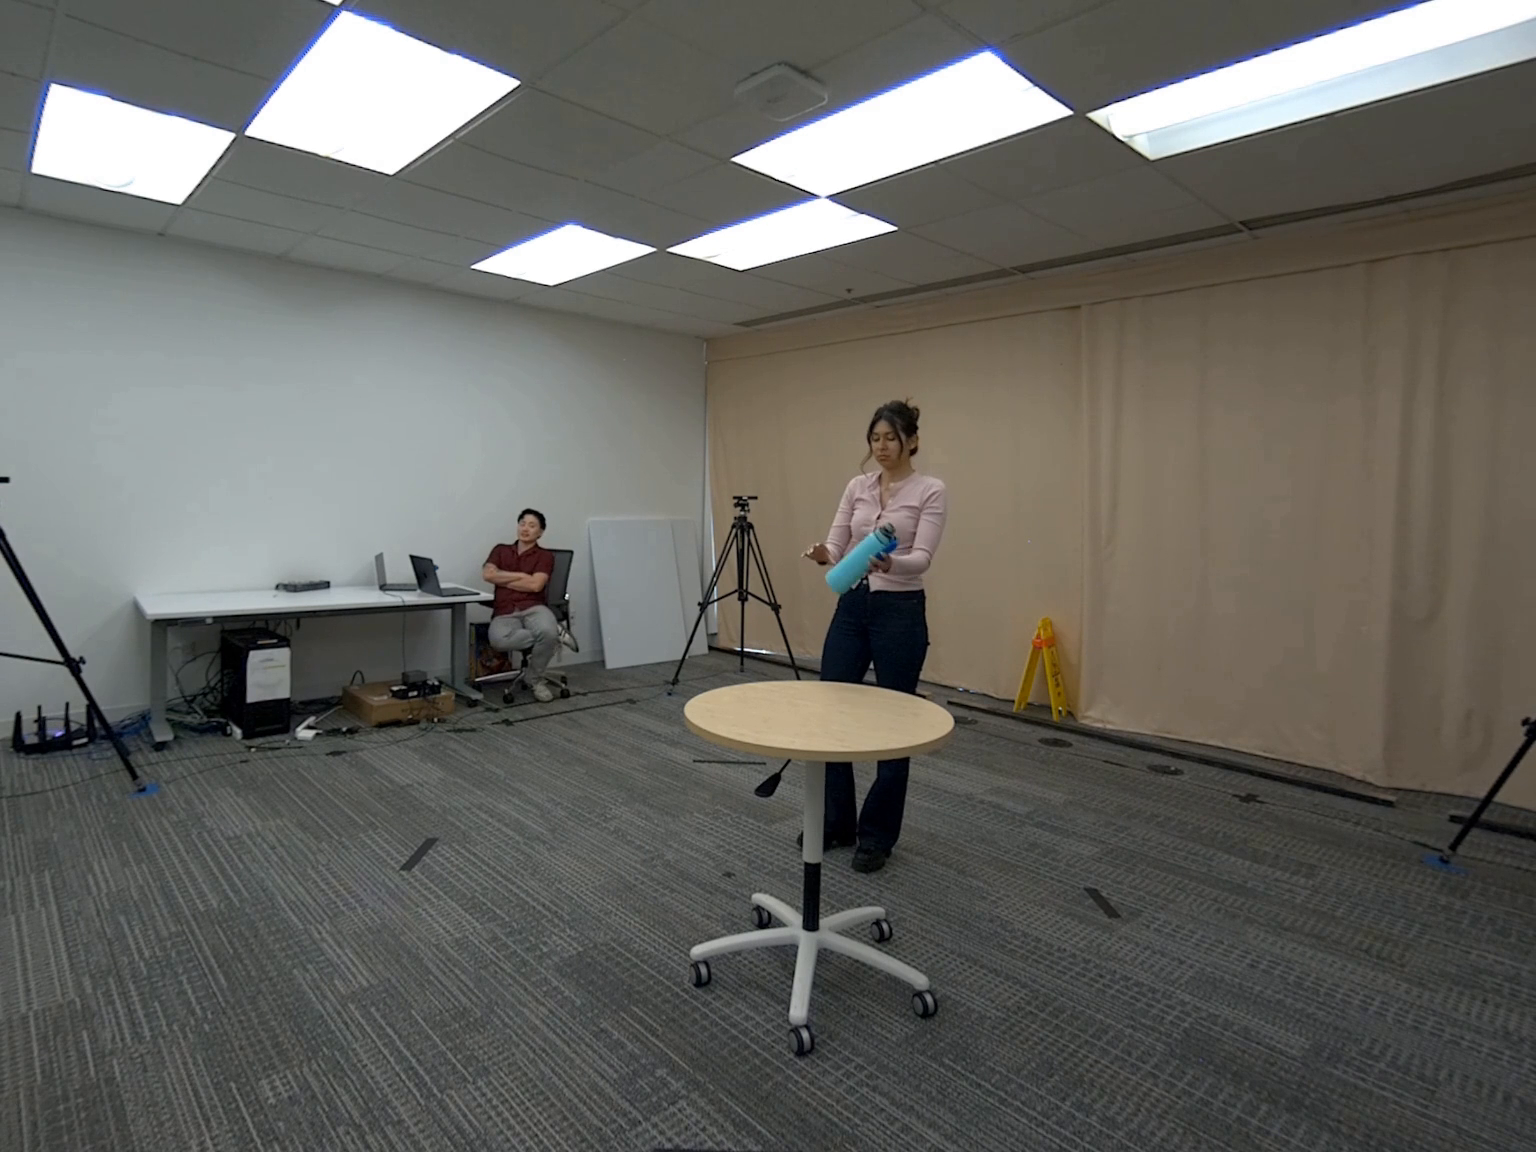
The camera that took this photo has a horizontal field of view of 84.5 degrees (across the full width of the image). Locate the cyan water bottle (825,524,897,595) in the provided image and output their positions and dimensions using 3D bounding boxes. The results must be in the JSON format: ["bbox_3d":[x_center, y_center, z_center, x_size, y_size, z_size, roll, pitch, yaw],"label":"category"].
[{"bbox_3d":[0.309,-0.061,2.791,0.090,0.283,0.094,35,25,-21],"label":"cyan water bottle"}]
